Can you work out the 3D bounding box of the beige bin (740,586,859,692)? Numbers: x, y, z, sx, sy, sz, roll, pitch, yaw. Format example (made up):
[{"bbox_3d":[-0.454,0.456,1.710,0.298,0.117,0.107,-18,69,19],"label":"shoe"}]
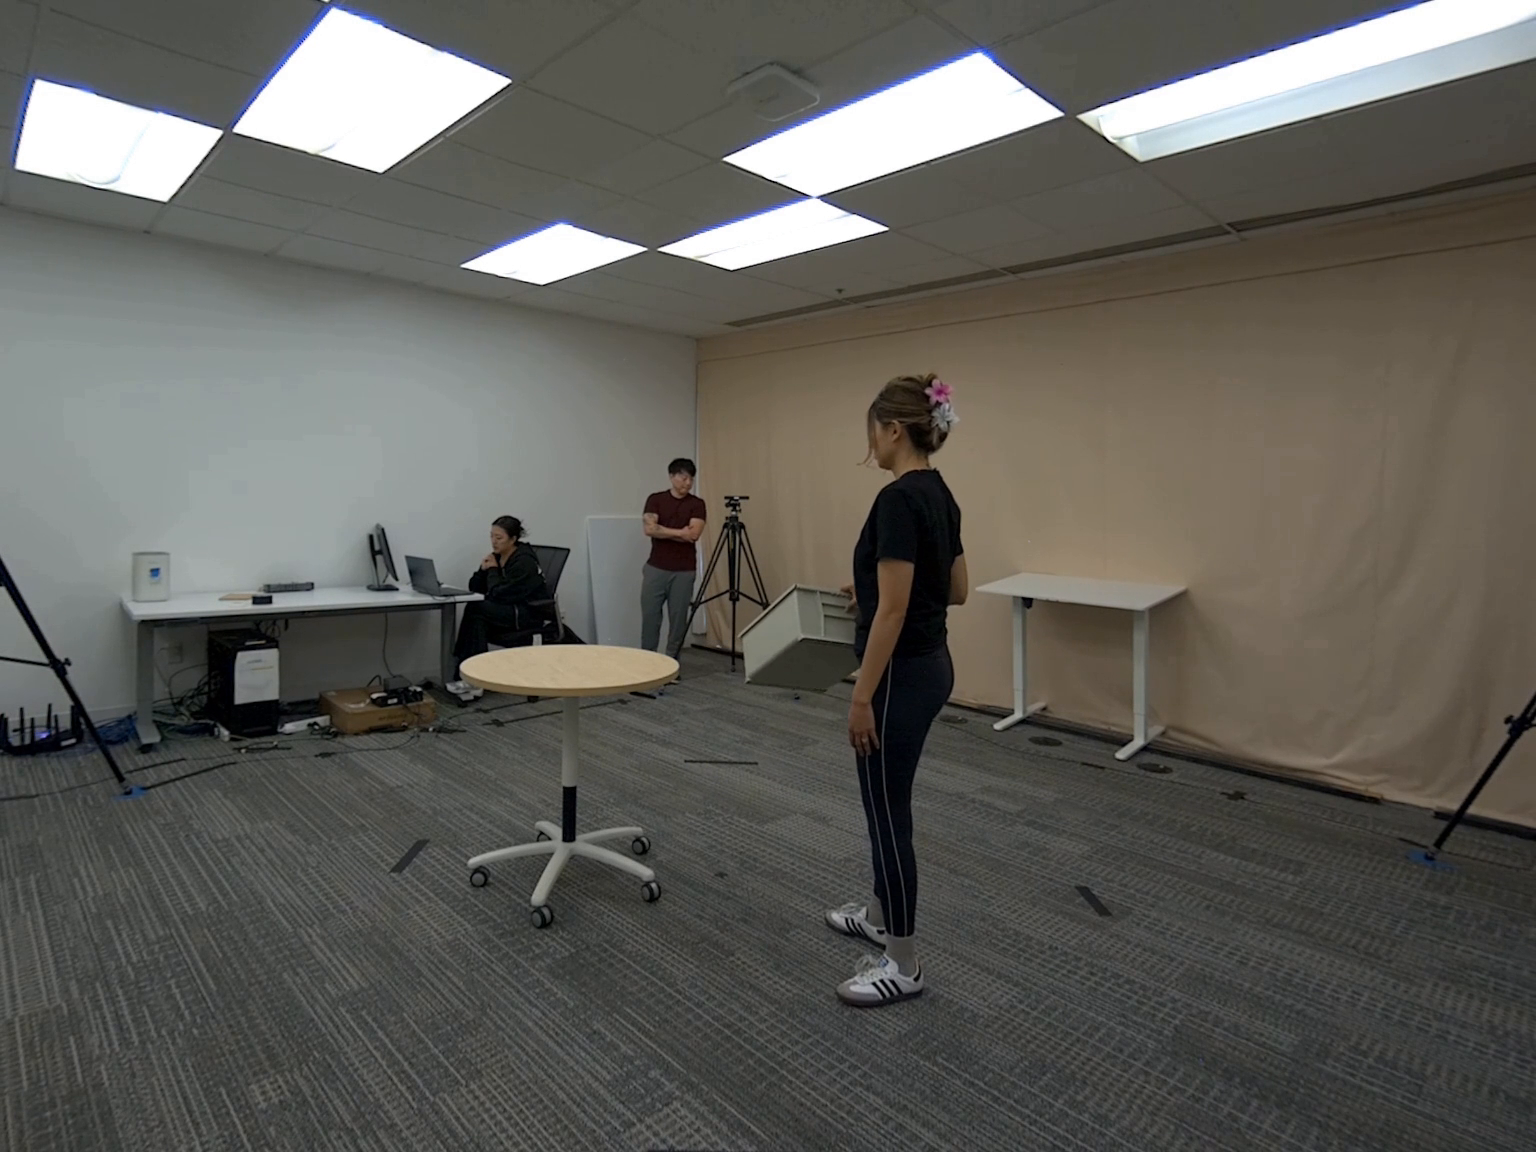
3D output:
[{"bbox_3d":[0.156,0.223,2.806,0.370,0.193,0.422,9,-30,-24],"label":"beige bin"}]
